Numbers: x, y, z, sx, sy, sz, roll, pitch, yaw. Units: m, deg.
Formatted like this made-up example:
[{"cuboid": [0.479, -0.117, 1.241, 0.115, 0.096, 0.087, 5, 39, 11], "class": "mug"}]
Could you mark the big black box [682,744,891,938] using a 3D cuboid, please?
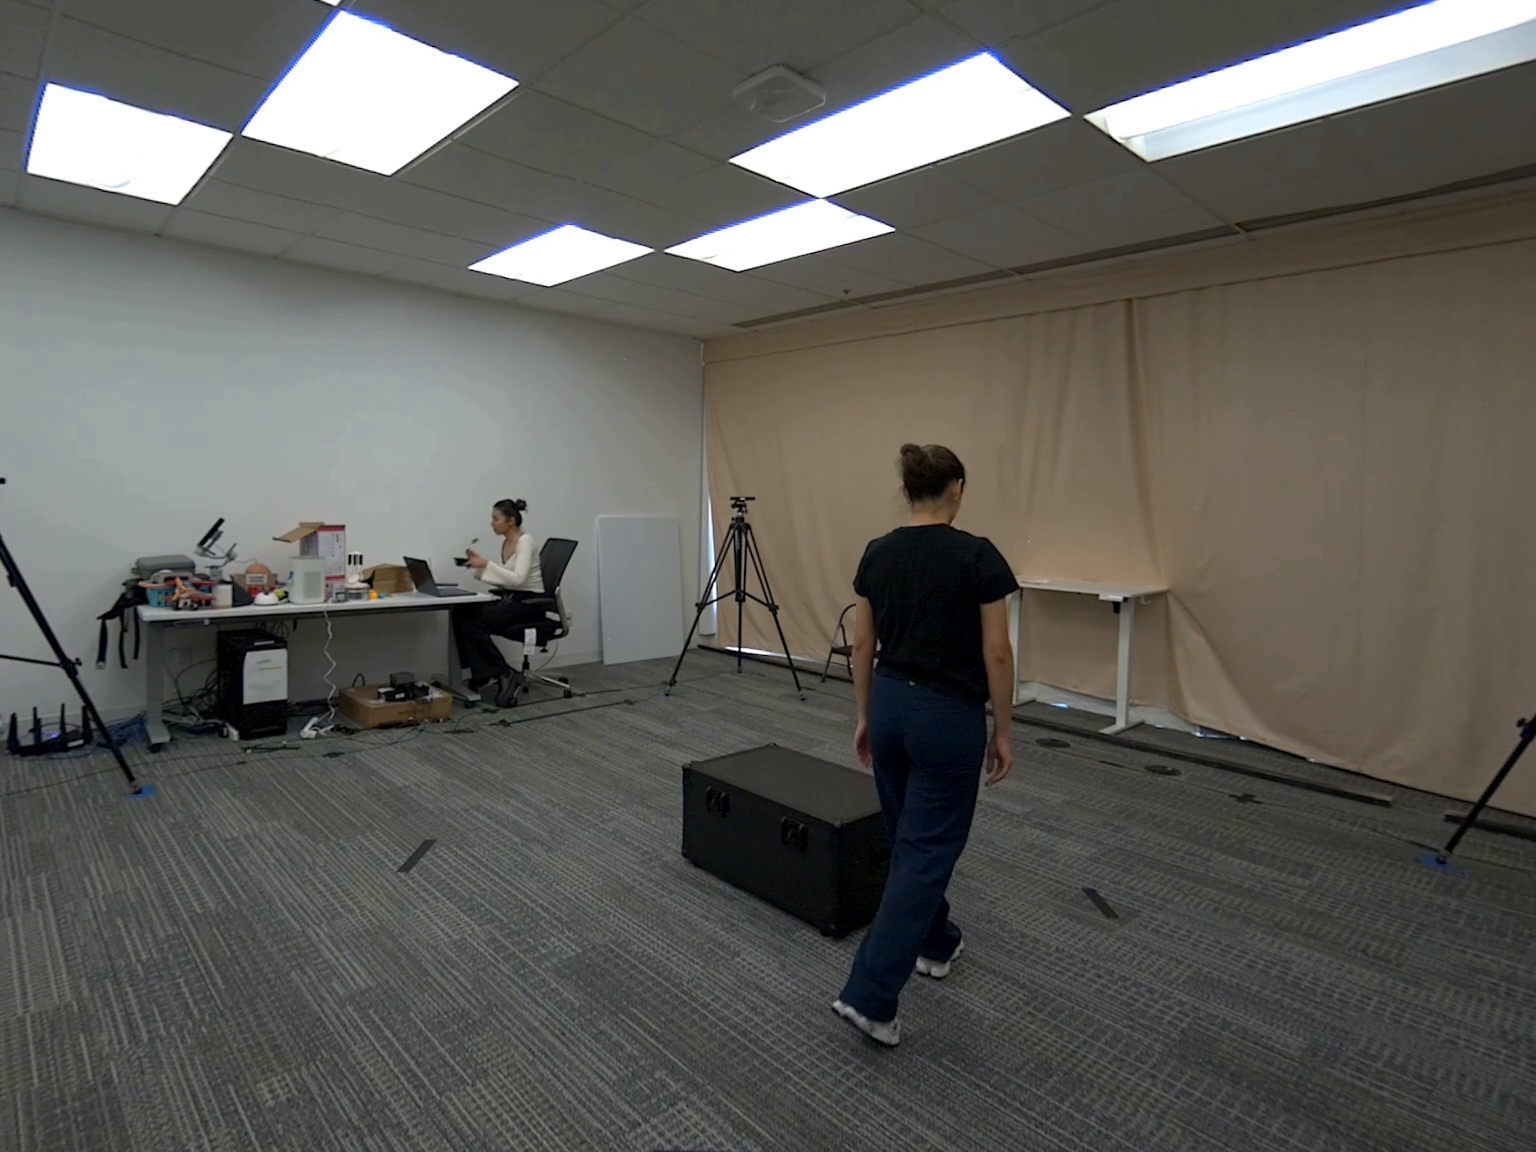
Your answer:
[{"cuboid": [0.094, 0.925, 3.089, 0.509, 0.395, 0.884, -3, 7, -43], "class": "big black box"}]
